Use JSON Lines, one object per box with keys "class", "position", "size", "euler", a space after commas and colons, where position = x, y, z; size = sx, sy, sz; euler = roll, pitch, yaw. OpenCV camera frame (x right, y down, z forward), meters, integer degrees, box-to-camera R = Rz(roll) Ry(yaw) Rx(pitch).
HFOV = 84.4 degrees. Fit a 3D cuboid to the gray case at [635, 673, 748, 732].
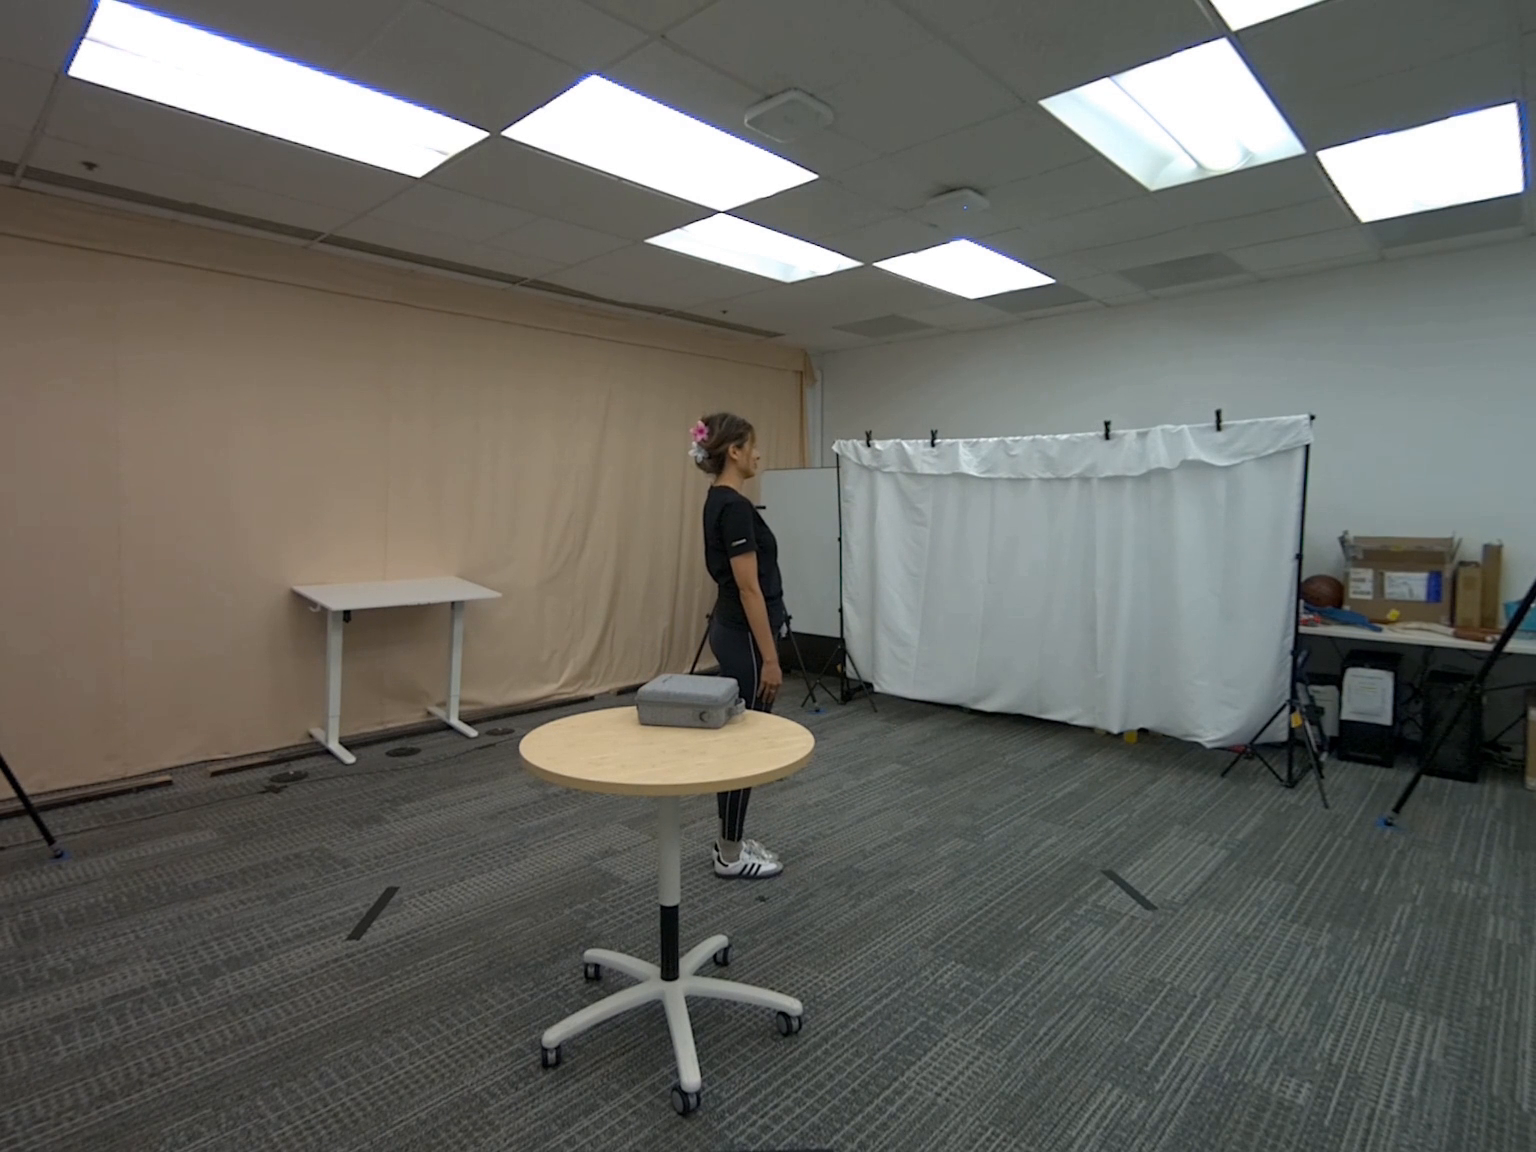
{"class": "gray case", "position": [-0.216, 0.357, 2.438], "size": [0.265, 0.104, 0.253], "euler": [1, 2, 13]}
